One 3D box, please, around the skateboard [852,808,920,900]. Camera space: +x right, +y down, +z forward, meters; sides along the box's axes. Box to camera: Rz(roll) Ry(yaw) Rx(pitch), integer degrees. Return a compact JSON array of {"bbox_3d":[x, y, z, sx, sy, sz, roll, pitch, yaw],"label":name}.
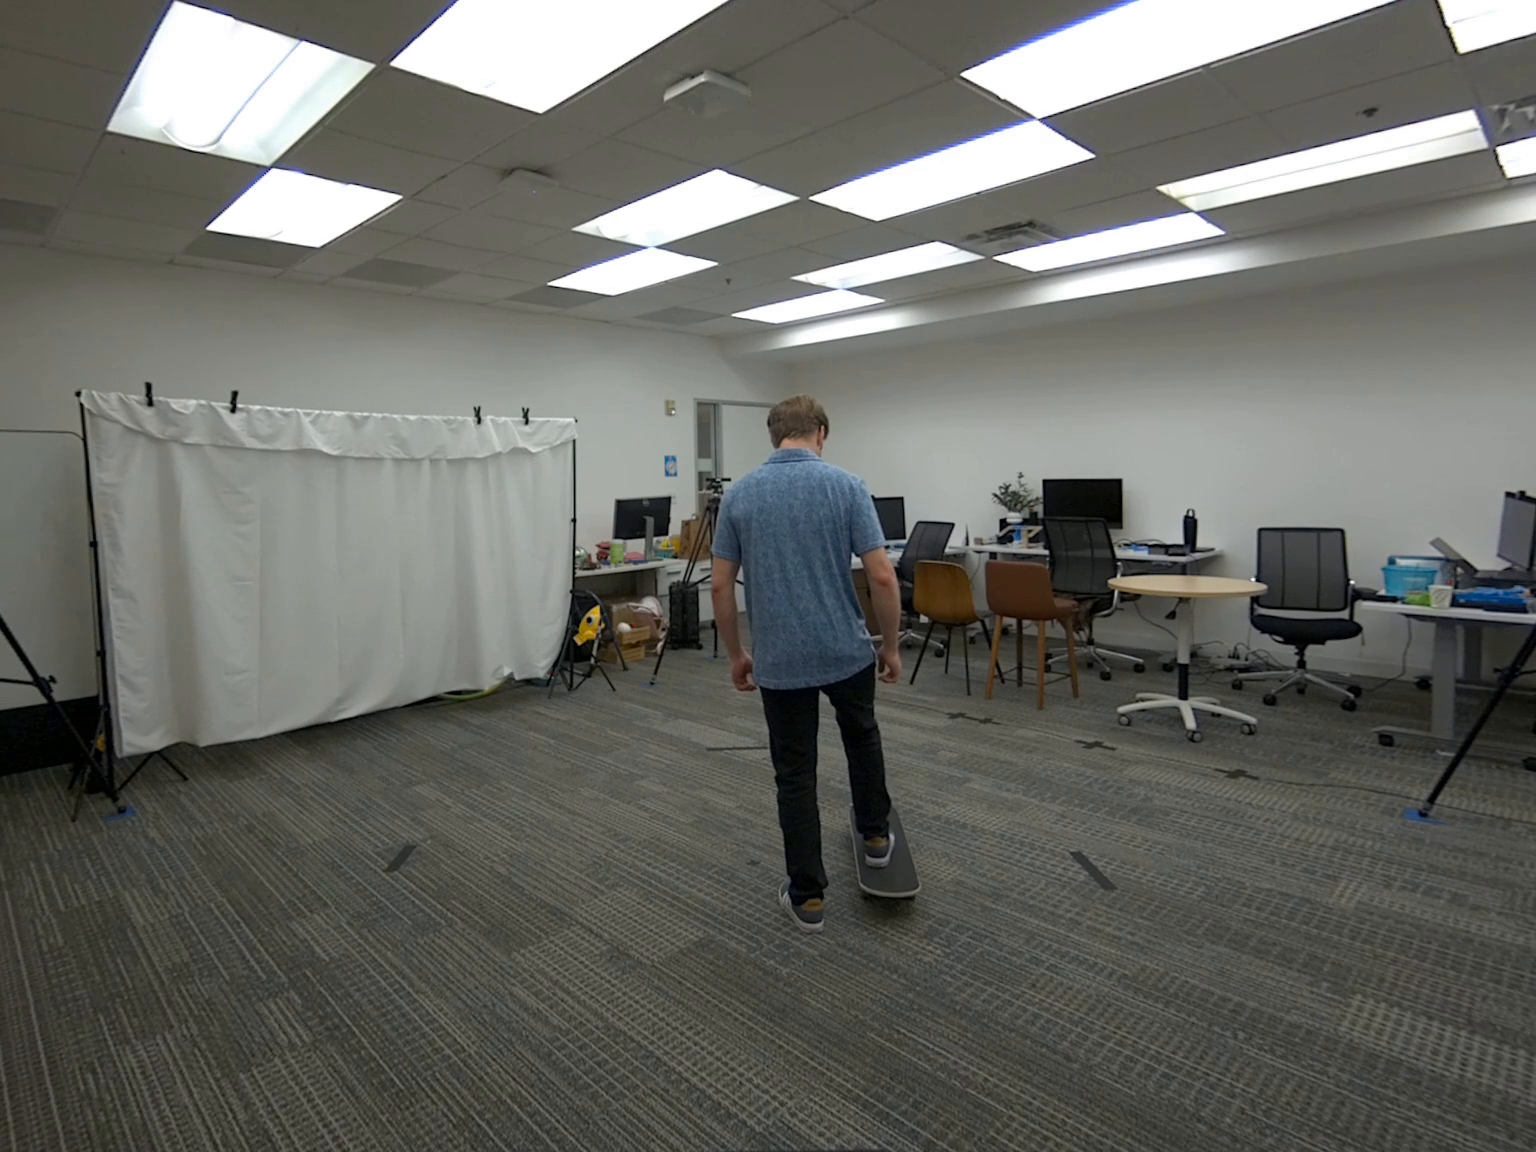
[{"bbox_3d":[0.400,0.983,3.030,0.194,0.110,0.787,-3,7,2],"label":"skateboard"}]
